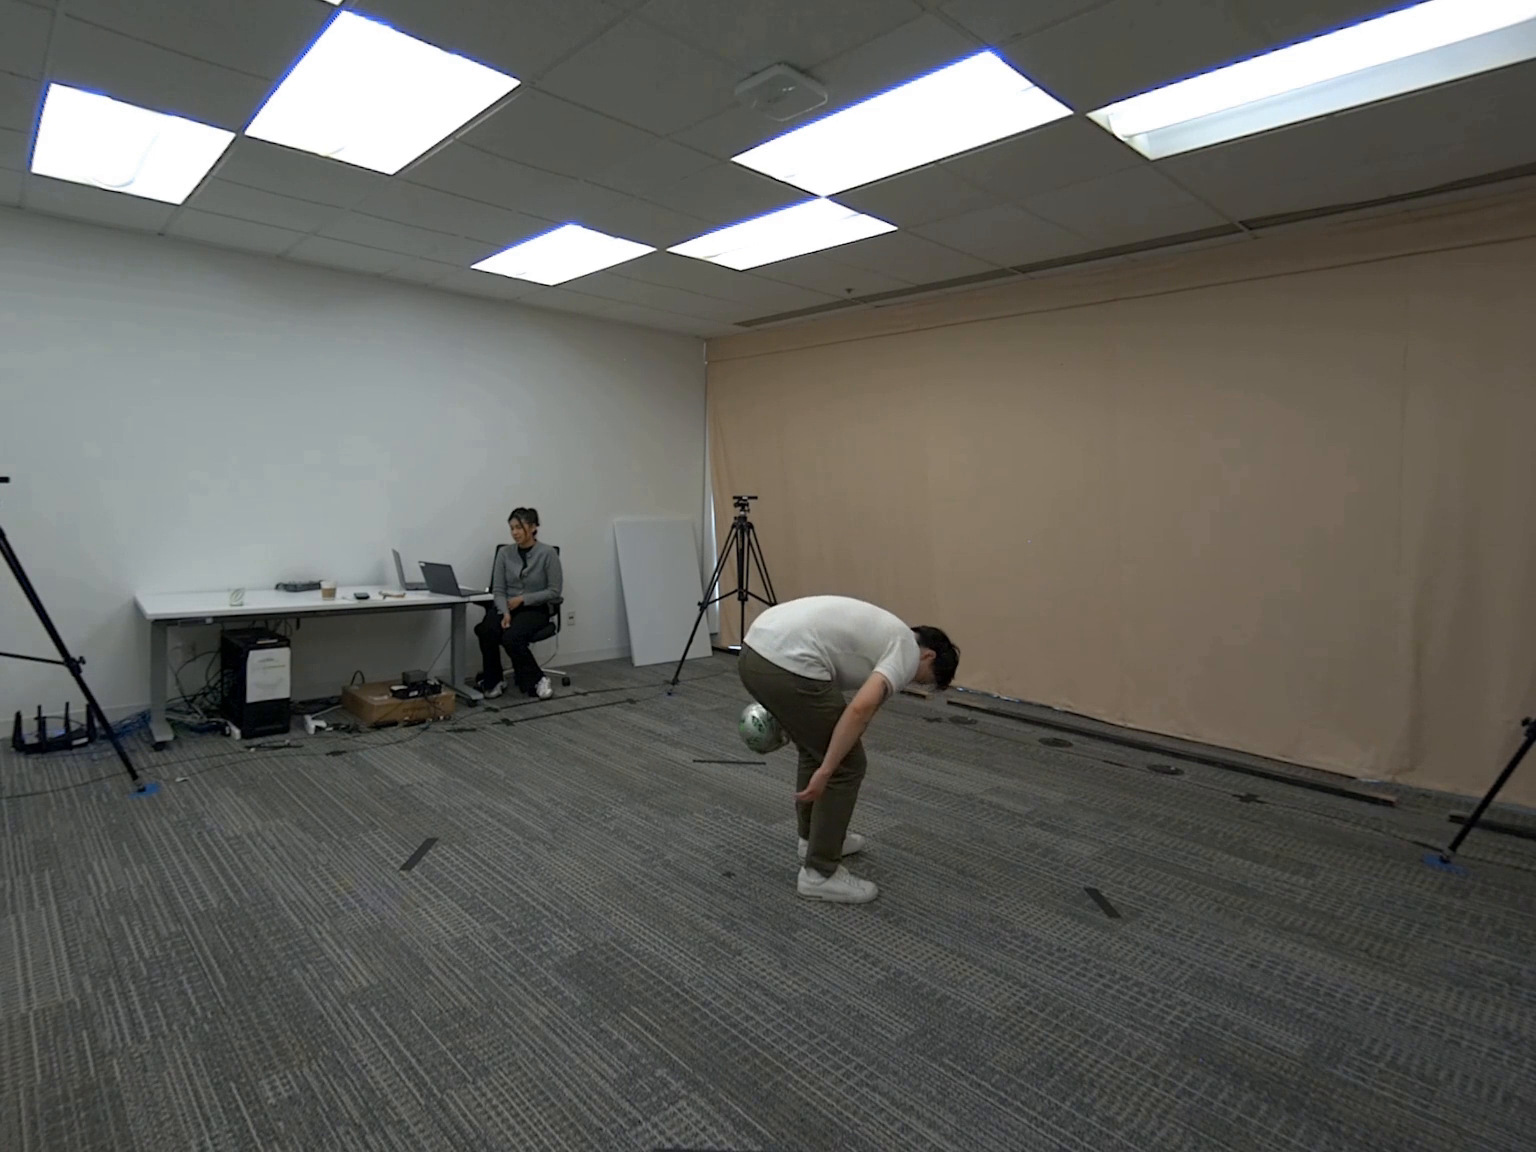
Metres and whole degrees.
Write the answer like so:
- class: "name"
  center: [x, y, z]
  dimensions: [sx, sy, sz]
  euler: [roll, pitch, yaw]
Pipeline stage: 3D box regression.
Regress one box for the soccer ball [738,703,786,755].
- class: "soccer ball"
  center: [-0.025, 0.577, 3.288]
  dimensions: [0.187, 0.187, 0.188]
  euler: [1, 4, -1]
